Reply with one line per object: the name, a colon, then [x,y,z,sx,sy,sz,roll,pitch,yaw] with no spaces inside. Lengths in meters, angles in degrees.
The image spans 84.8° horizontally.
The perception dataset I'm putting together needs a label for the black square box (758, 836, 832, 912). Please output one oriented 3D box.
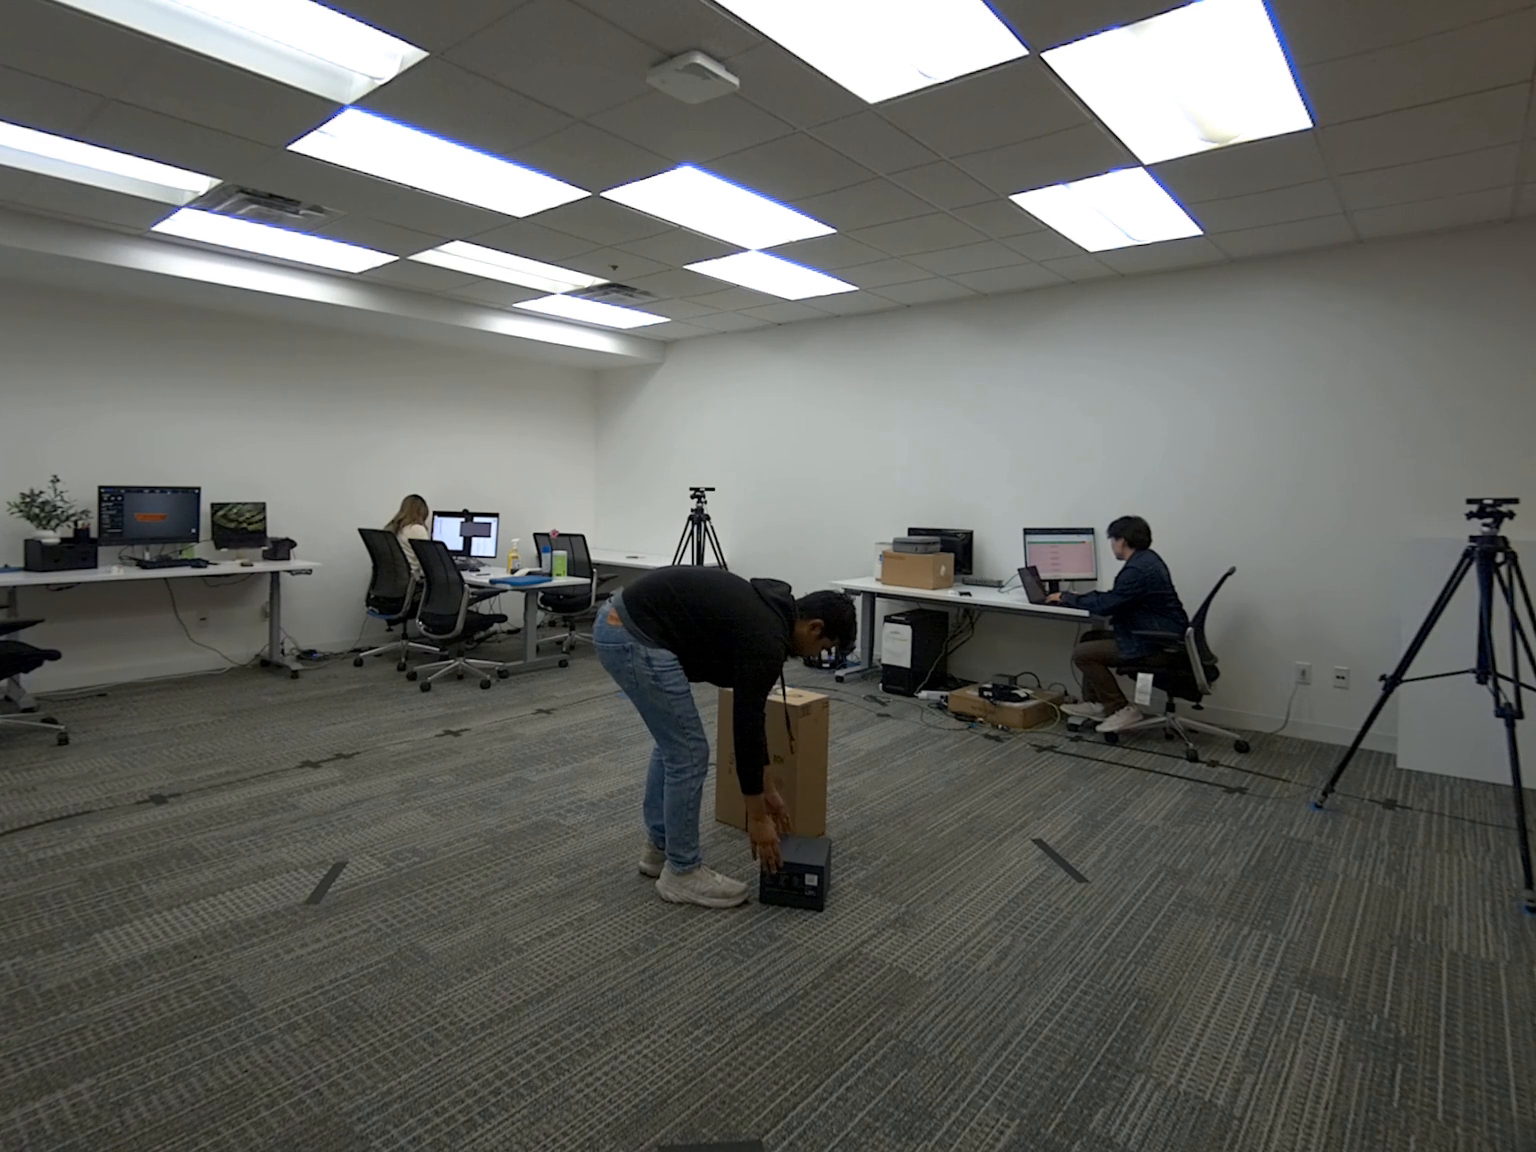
black square box: [0.104,1.012,2.932,0.220,0.155,0.226,2,6,11]
